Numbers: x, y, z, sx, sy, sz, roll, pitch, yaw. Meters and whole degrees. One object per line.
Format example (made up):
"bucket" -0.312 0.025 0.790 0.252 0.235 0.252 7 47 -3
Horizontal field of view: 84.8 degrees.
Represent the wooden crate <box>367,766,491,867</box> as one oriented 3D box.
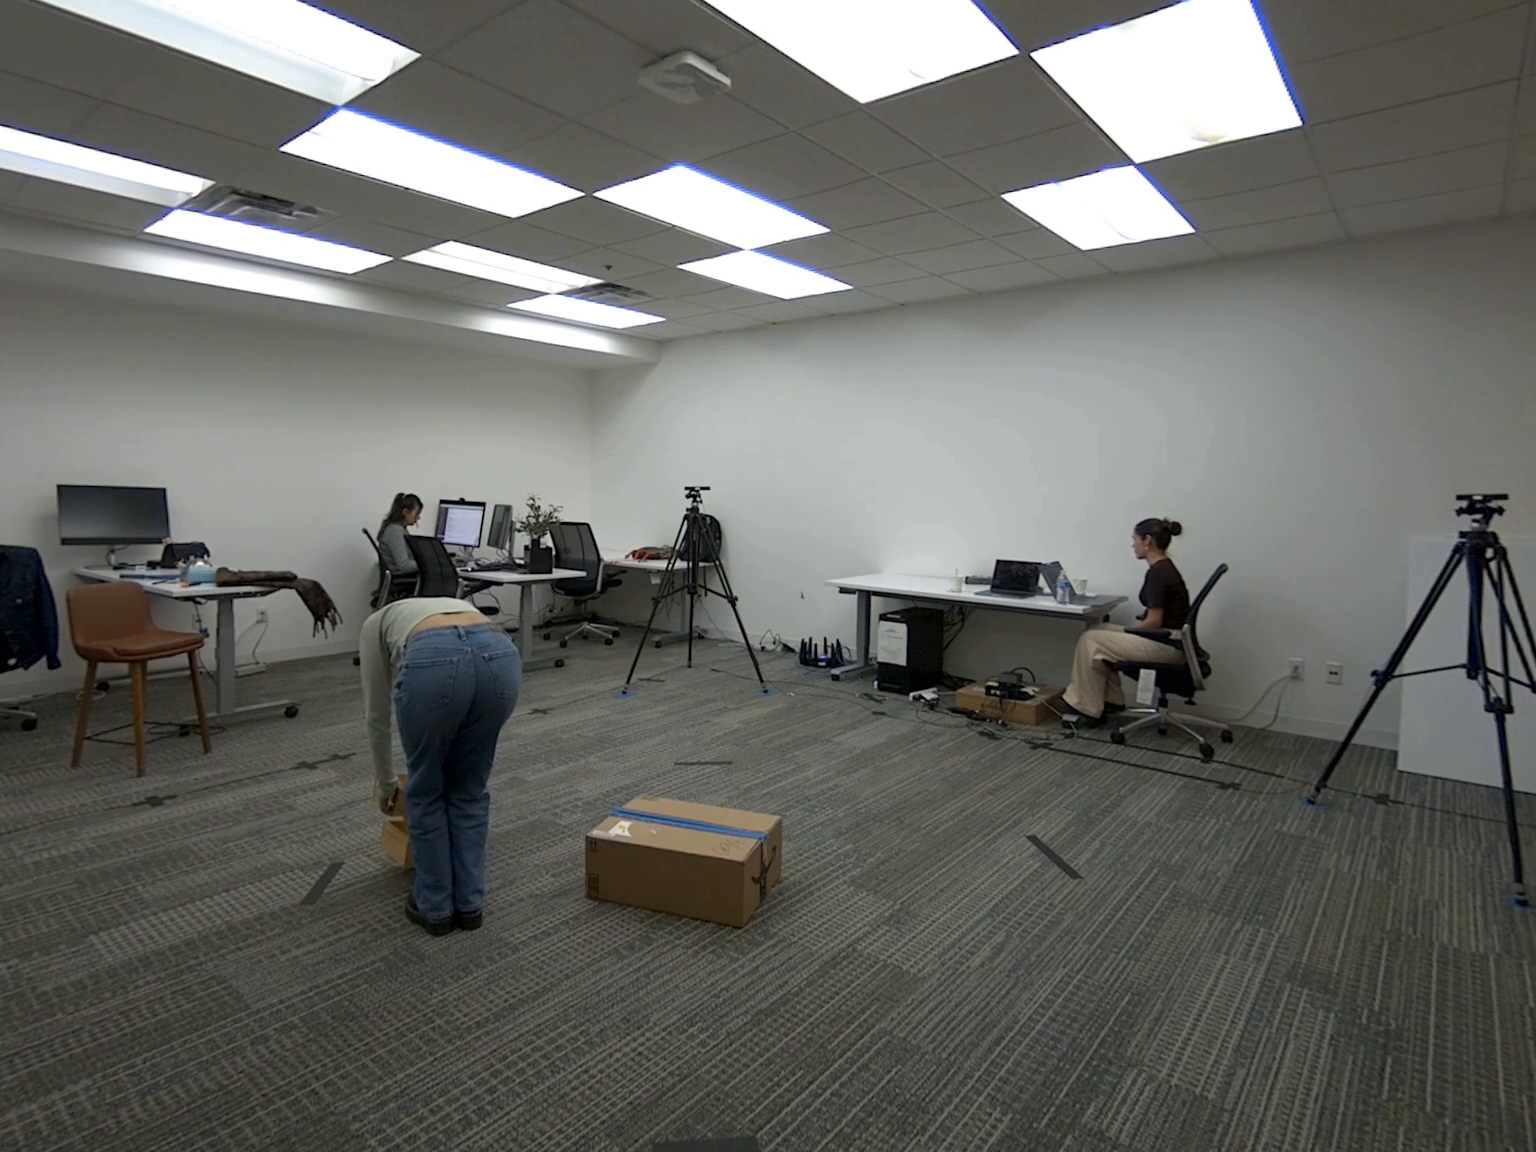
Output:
"wooden crate" -1.224 0.849 3.028 0.291 0.275 0.333 10 -9 -38
